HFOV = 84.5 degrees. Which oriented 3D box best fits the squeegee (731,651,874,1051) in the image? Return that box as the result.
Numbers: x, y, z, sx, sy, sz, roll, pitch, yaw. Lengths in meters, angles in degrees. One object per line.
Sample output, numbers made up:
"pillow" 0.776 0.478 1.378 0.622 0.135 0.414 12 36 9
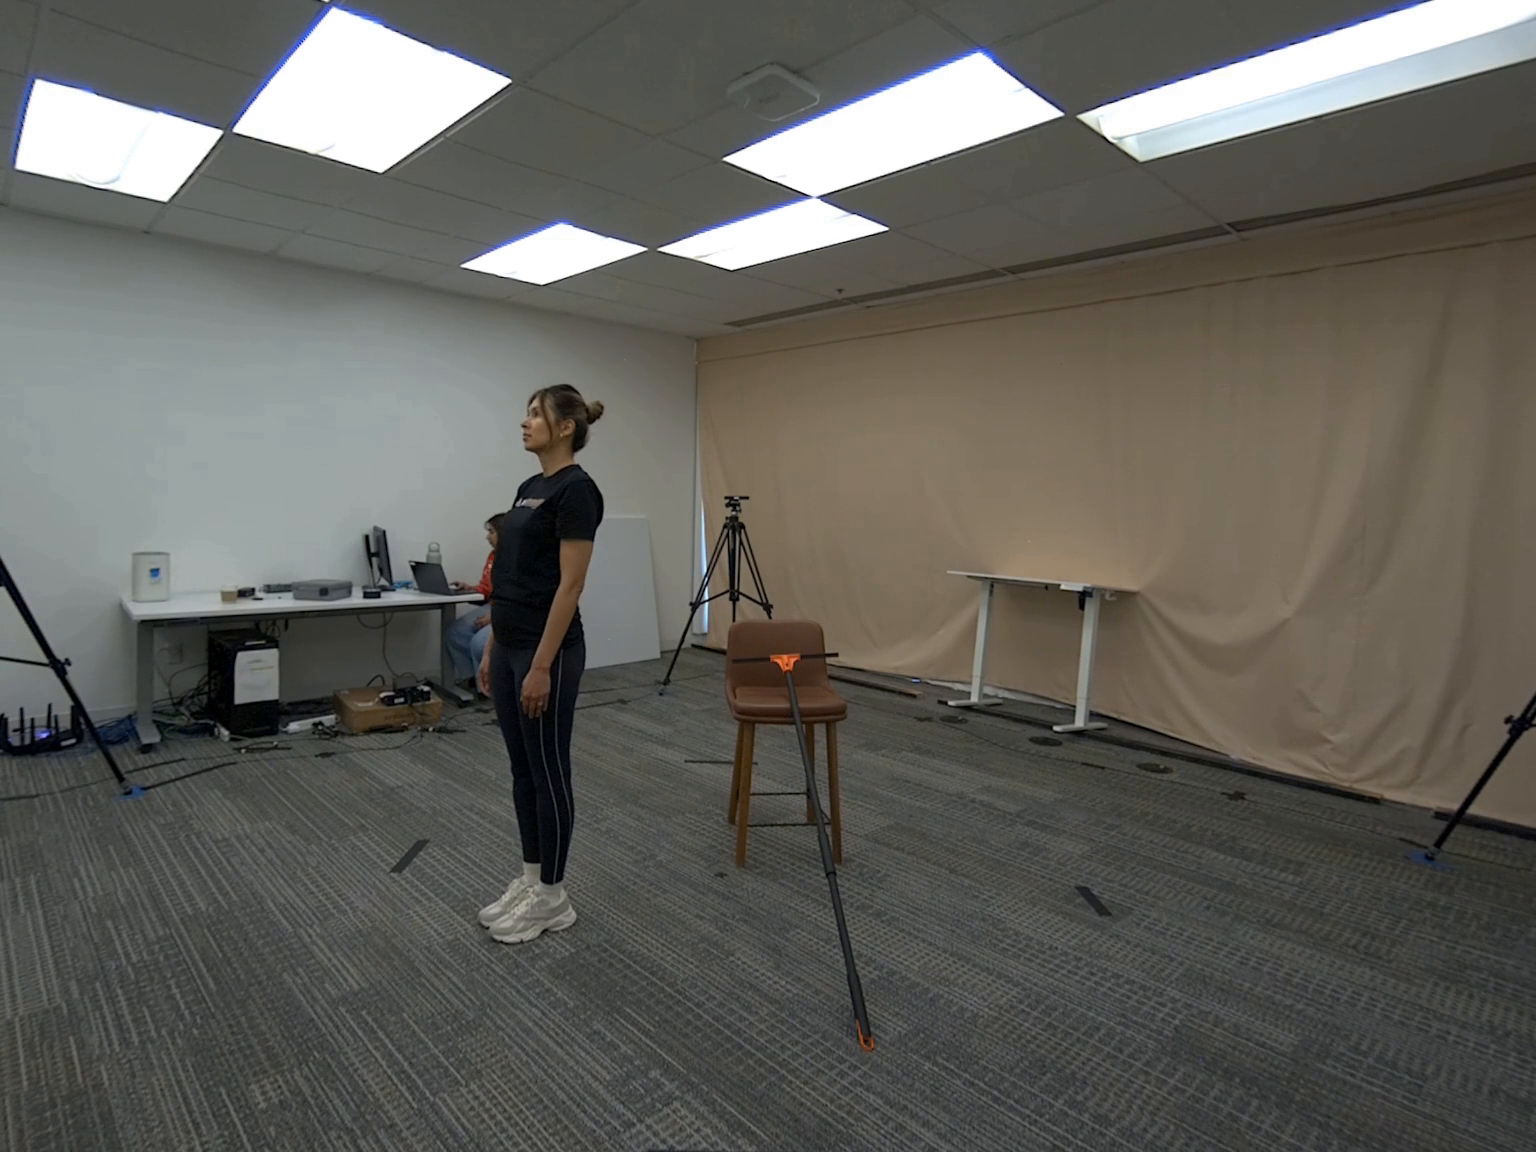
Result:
"squeegee" 0.152 0.750 2.785 0.438 0.051 1.576 -17 35 2
